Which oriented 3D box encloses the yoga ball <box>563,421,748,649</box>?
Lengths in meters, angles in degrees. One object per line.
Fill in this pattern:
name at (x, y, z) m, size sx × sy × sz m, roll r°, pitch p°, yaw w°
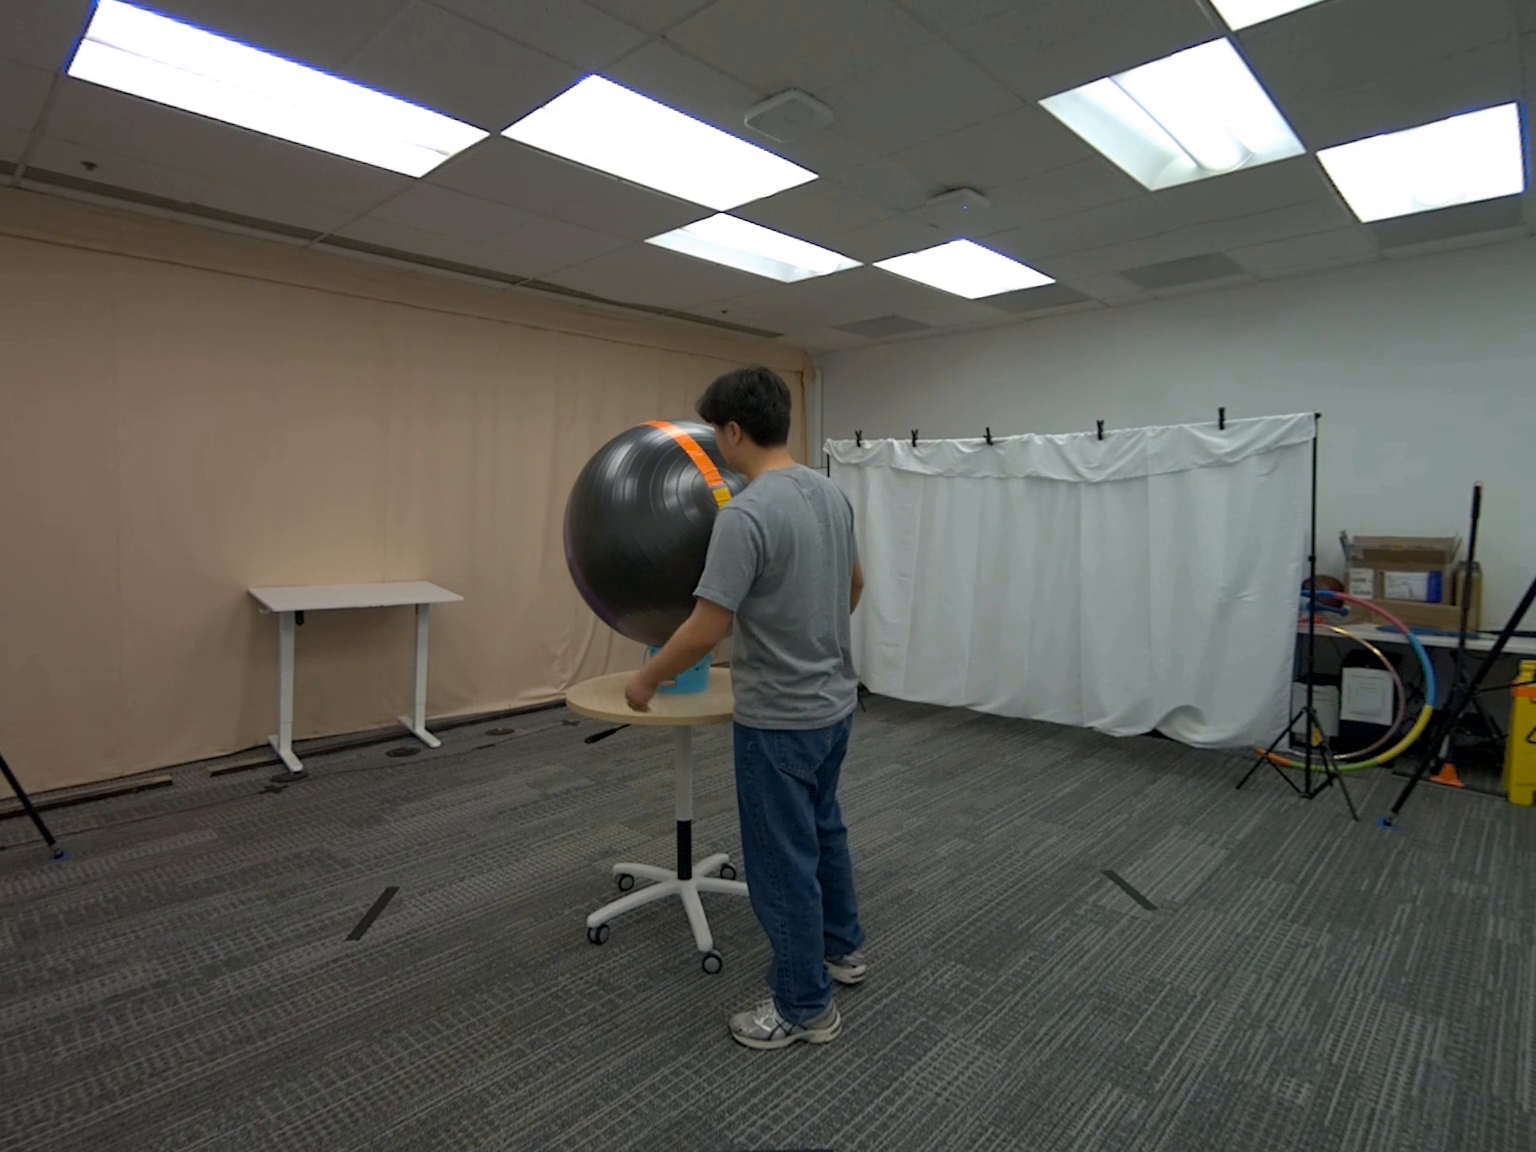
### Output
yoga ball at (-0.297, -0.134, 2.808) m, size 0.757 × 0.756 × 0.760 m, roll 0°, pitch 4°, yaw -2°
